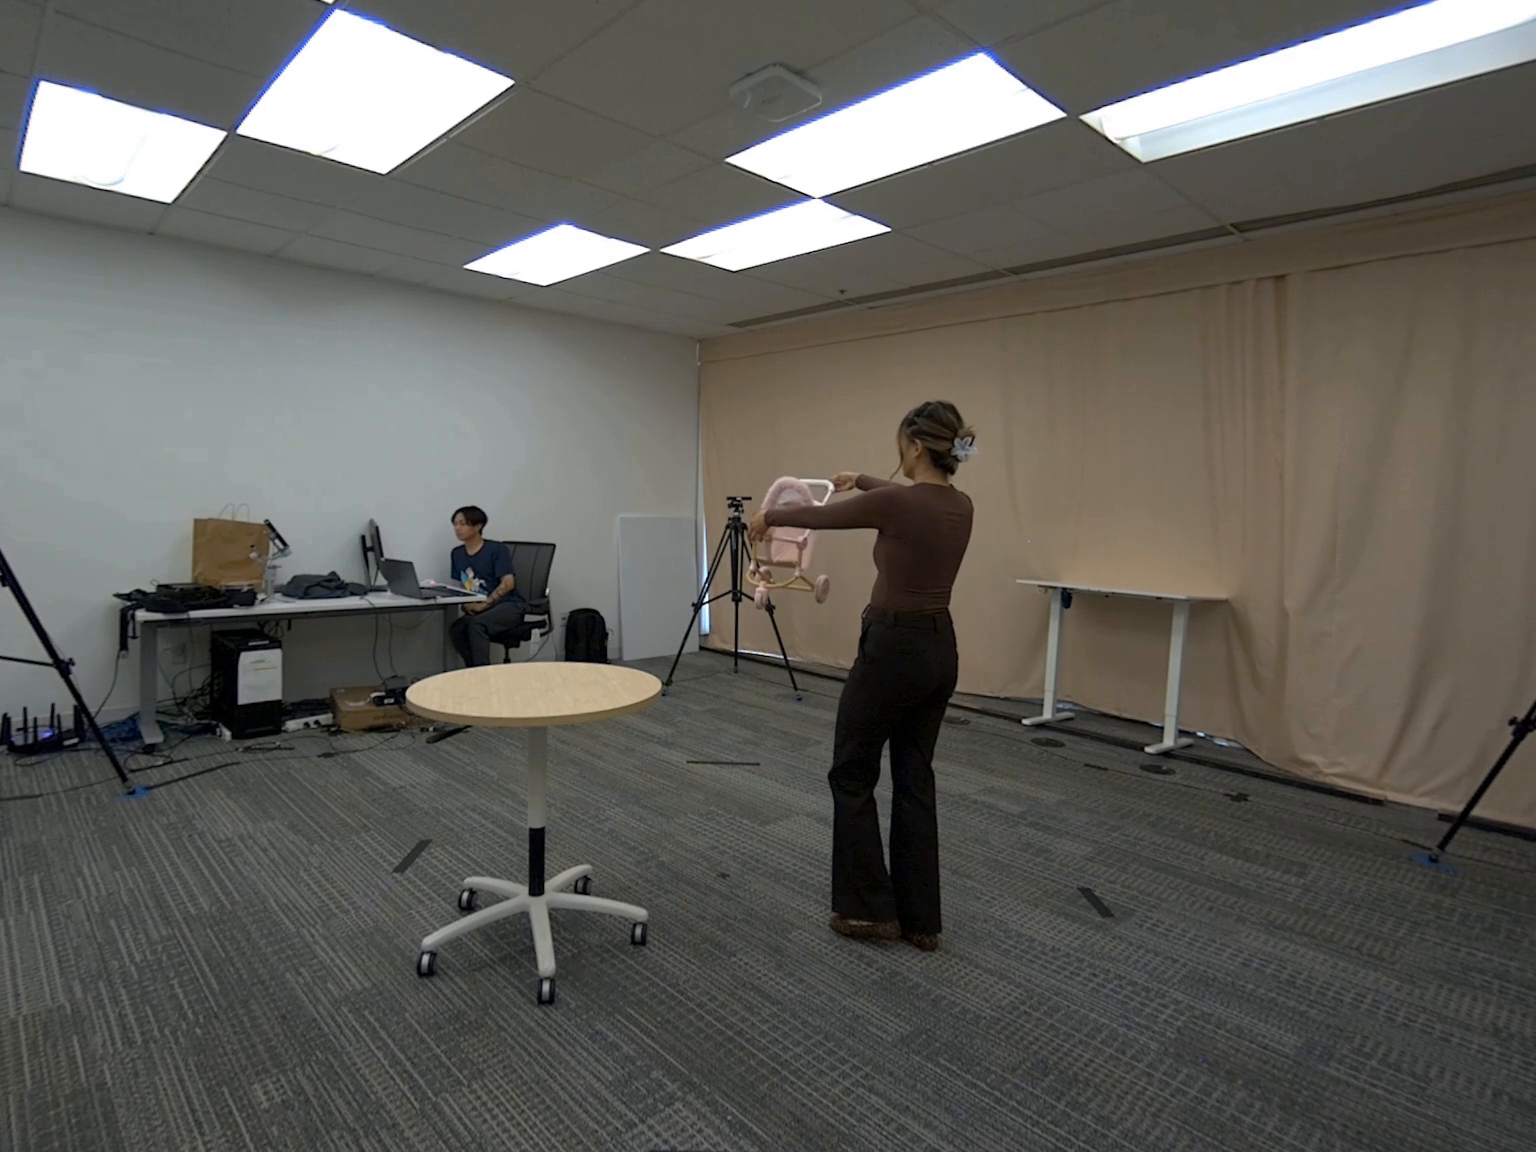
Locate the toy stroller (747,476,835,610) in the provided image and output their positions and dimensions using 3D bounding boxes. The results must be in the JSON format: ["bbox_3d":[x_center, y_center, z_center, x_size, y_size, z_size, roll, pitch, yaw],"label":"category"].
[{"bbox_3d":[0.063,-0.127,3.167,0.288,0.536,0.332,7,-4,32],"label":"toy stroller"}]
